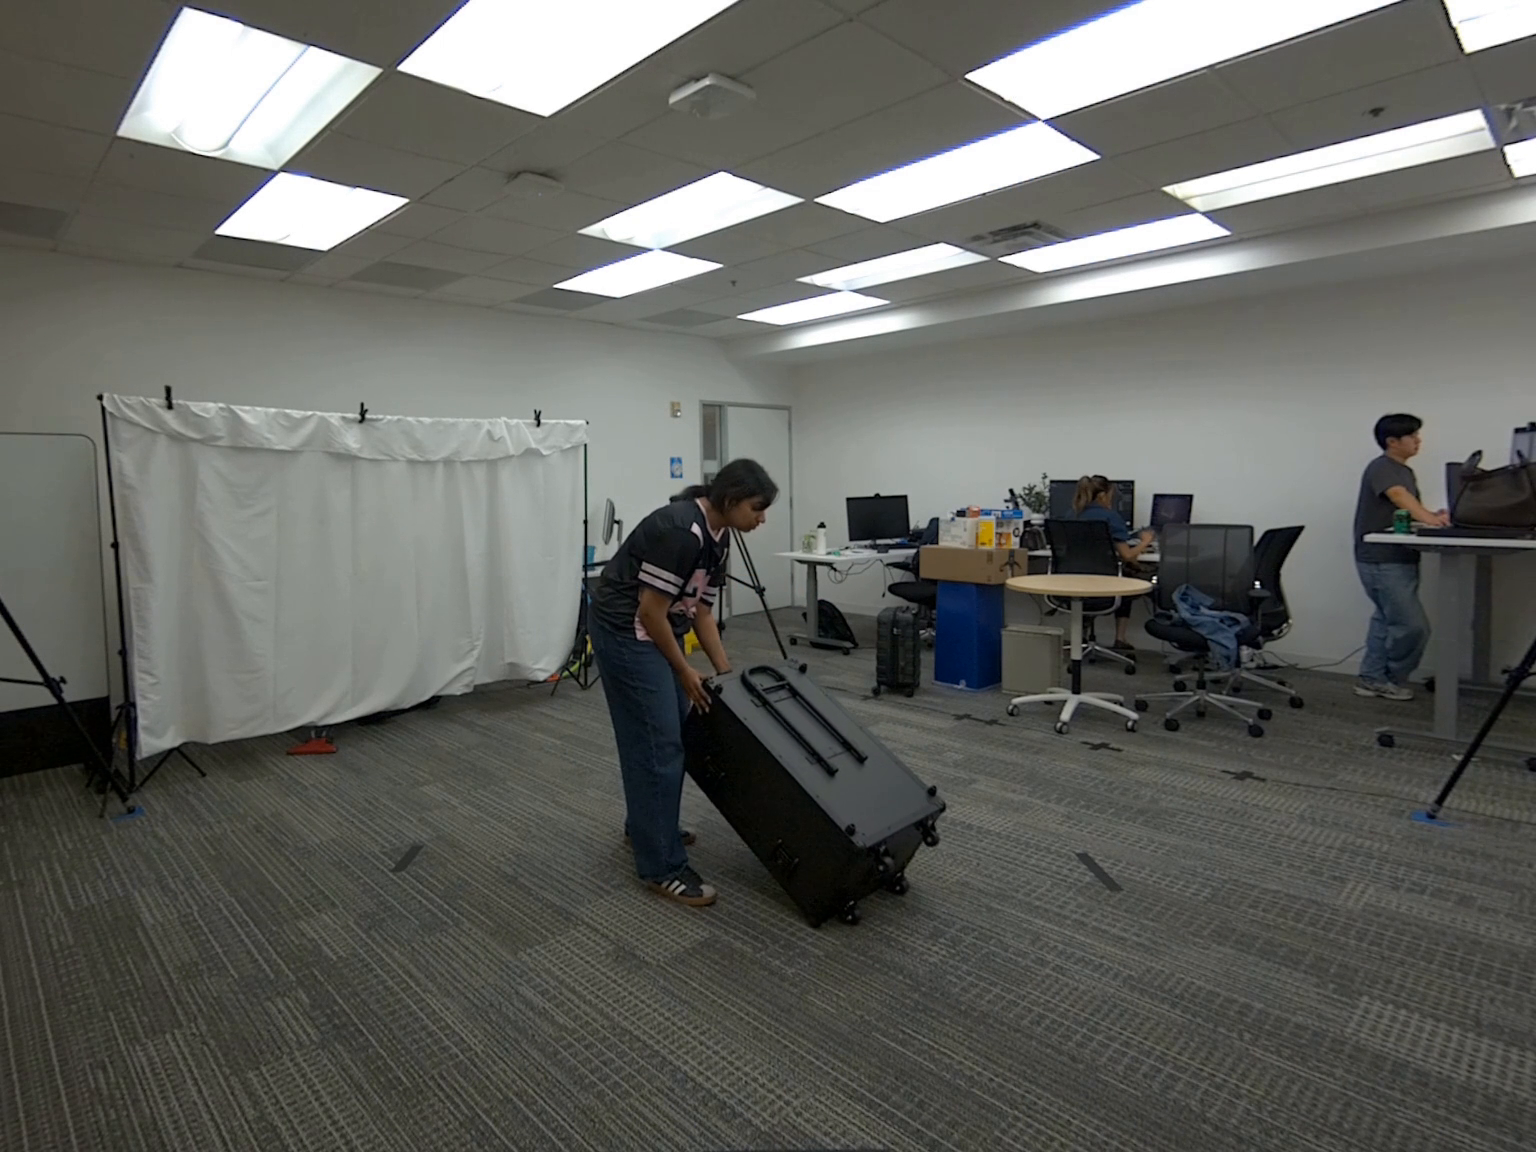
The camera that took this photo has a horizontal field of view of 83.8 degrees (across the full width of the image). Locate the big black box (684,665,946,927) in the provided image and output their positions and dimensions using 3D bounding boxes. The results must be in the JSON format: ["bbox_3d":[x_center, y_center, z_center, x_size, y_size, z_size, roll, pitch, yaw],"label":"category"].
[{"bbox_3d":[0.153,0.722,2.955,0.509,0.381,0.901,-5,37,-46],"label":"big black box"}]
